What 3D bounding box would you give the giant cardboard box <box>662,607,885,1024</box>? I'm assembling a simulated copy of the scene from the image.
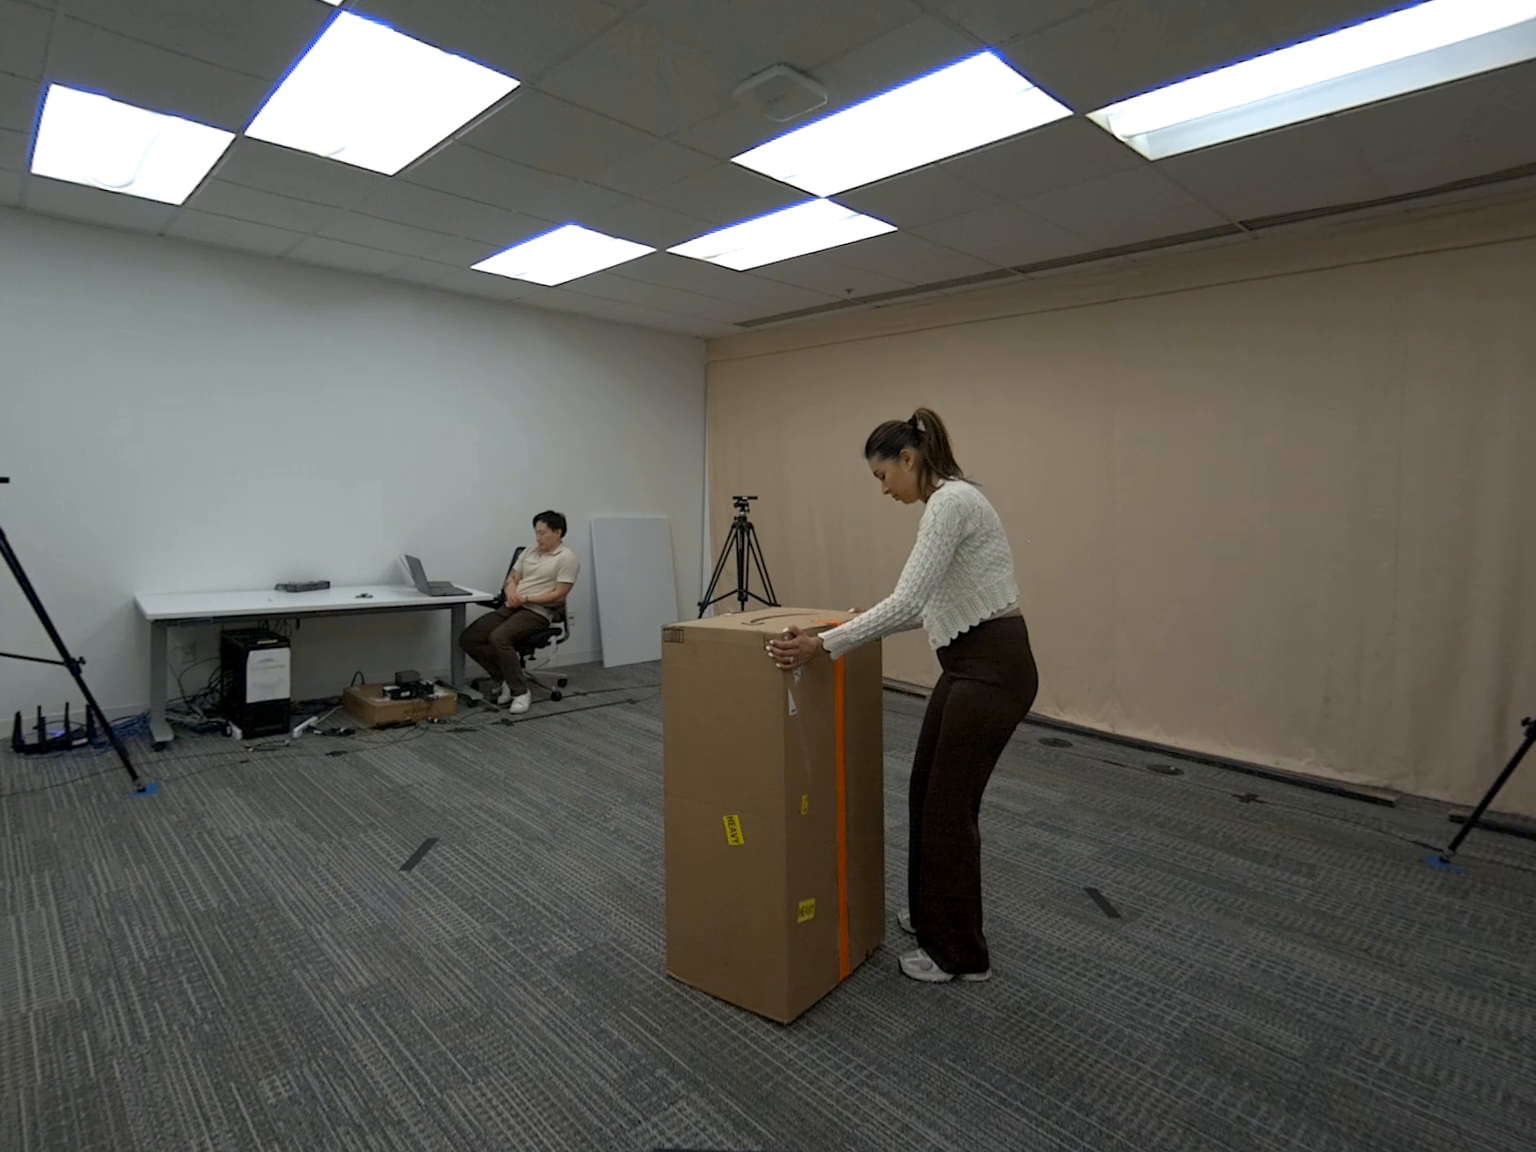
[{"bbox_3d":[0.023,0.644,2.535,0.436,1.025,0.565,0,2,34],"label":"giant cardboard box"}]
